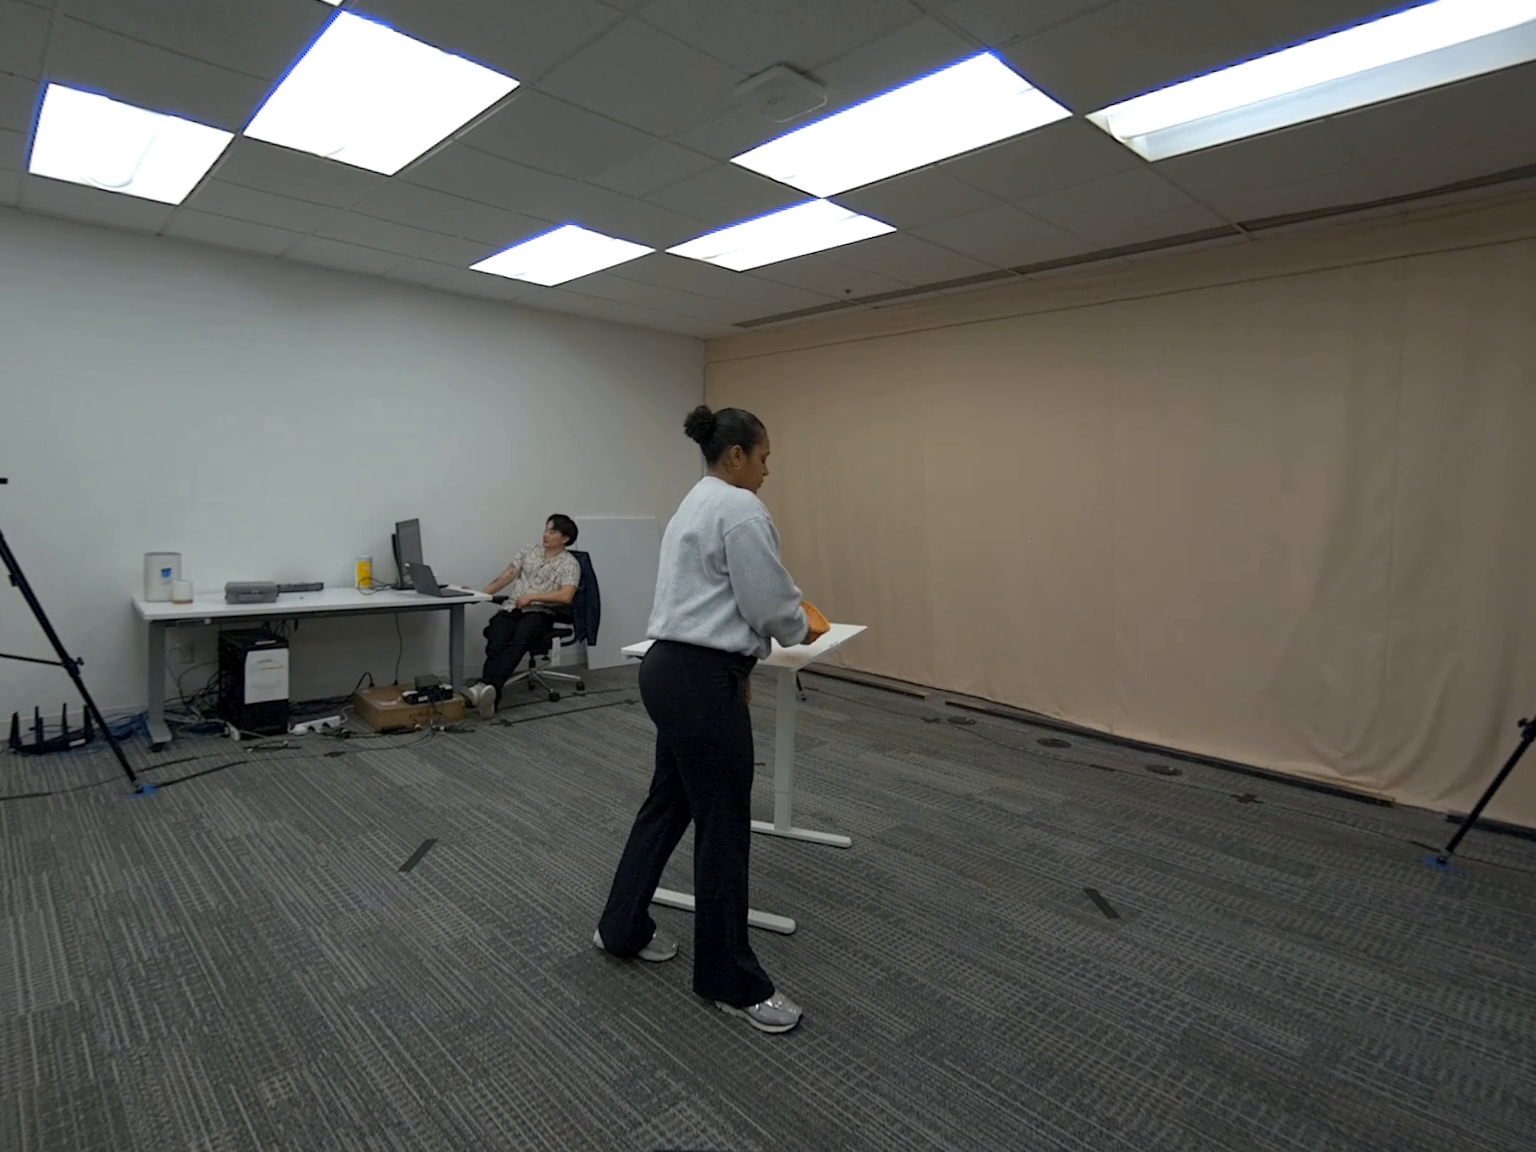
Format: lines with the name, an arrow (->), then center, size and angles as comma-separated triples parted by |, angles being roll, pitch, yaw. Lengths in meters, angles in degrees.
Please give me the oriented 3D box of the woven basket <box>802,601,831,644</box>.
woven basket -> 0.070, 0.147, 2.696 | 0.254, 0.073, 0.350 | 21, 14, 5
